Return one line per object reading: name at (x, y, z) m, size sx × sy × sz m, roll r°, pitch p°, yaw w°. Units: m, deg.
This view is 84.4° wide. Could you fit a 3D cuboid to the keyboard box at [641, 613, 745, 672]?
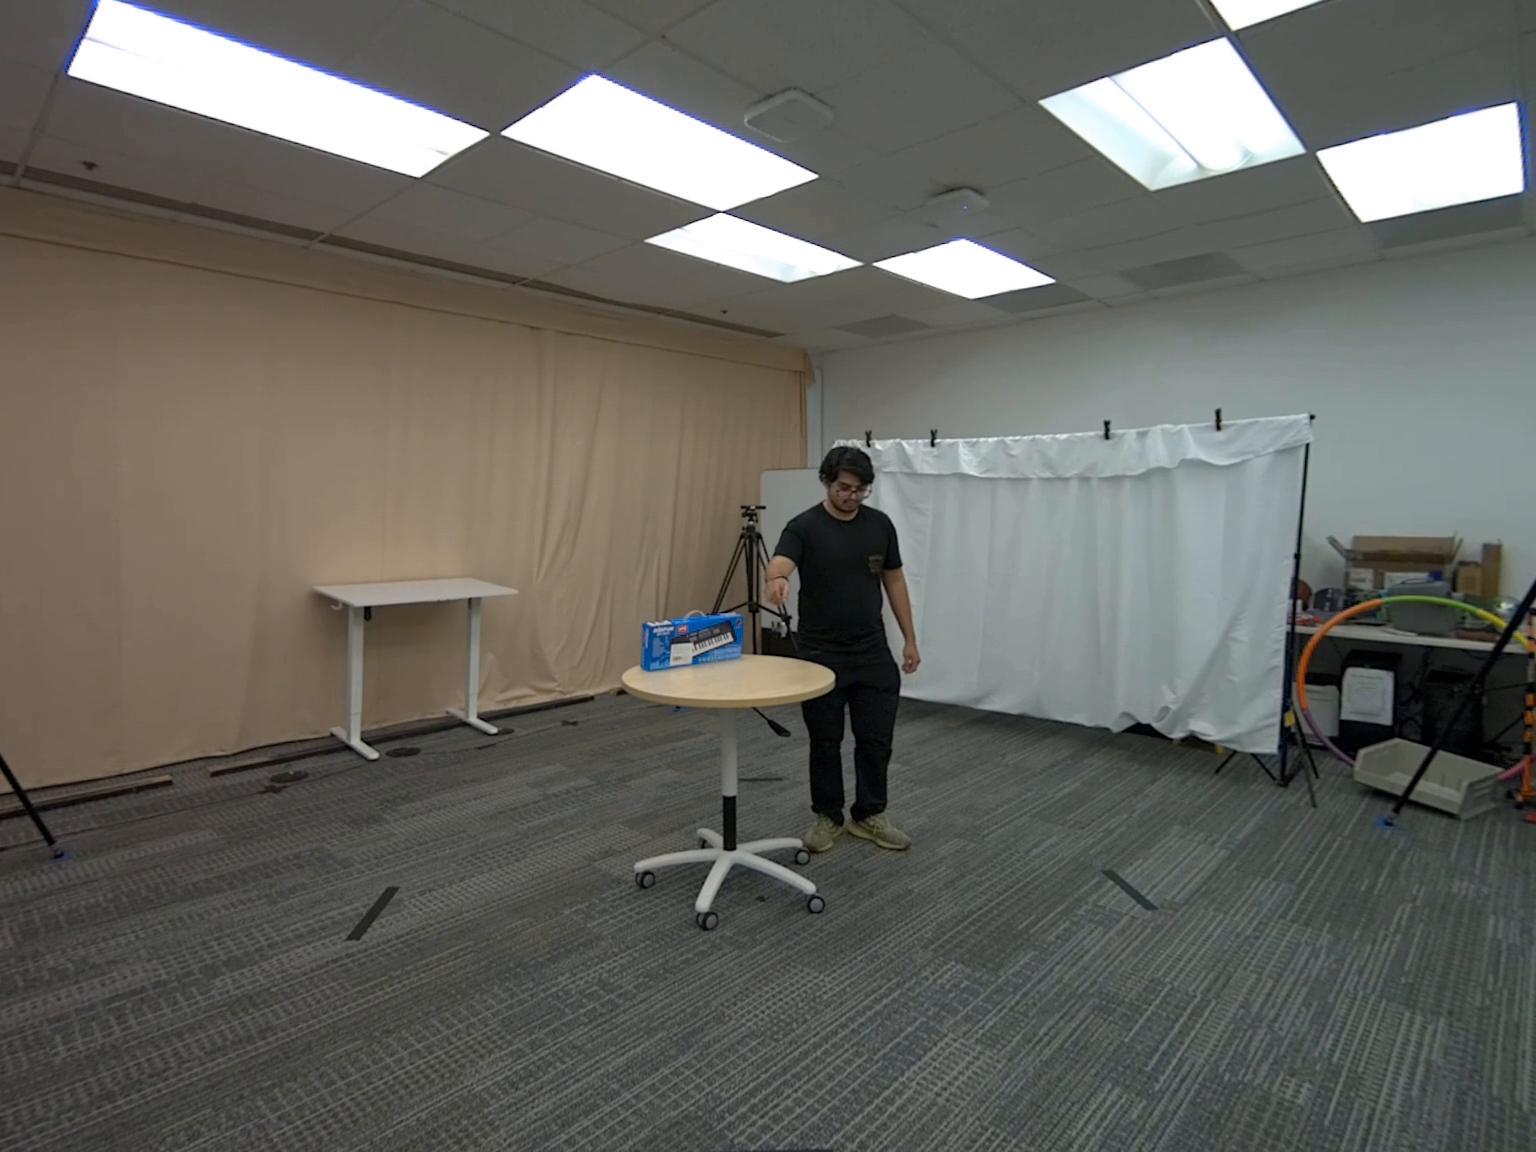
keyboard box at (-0.283, 0.251, 3.235) m, size 0.424 × 0.175 × 0.061 m, roll -5°, pitch 12°, yaw -38°
